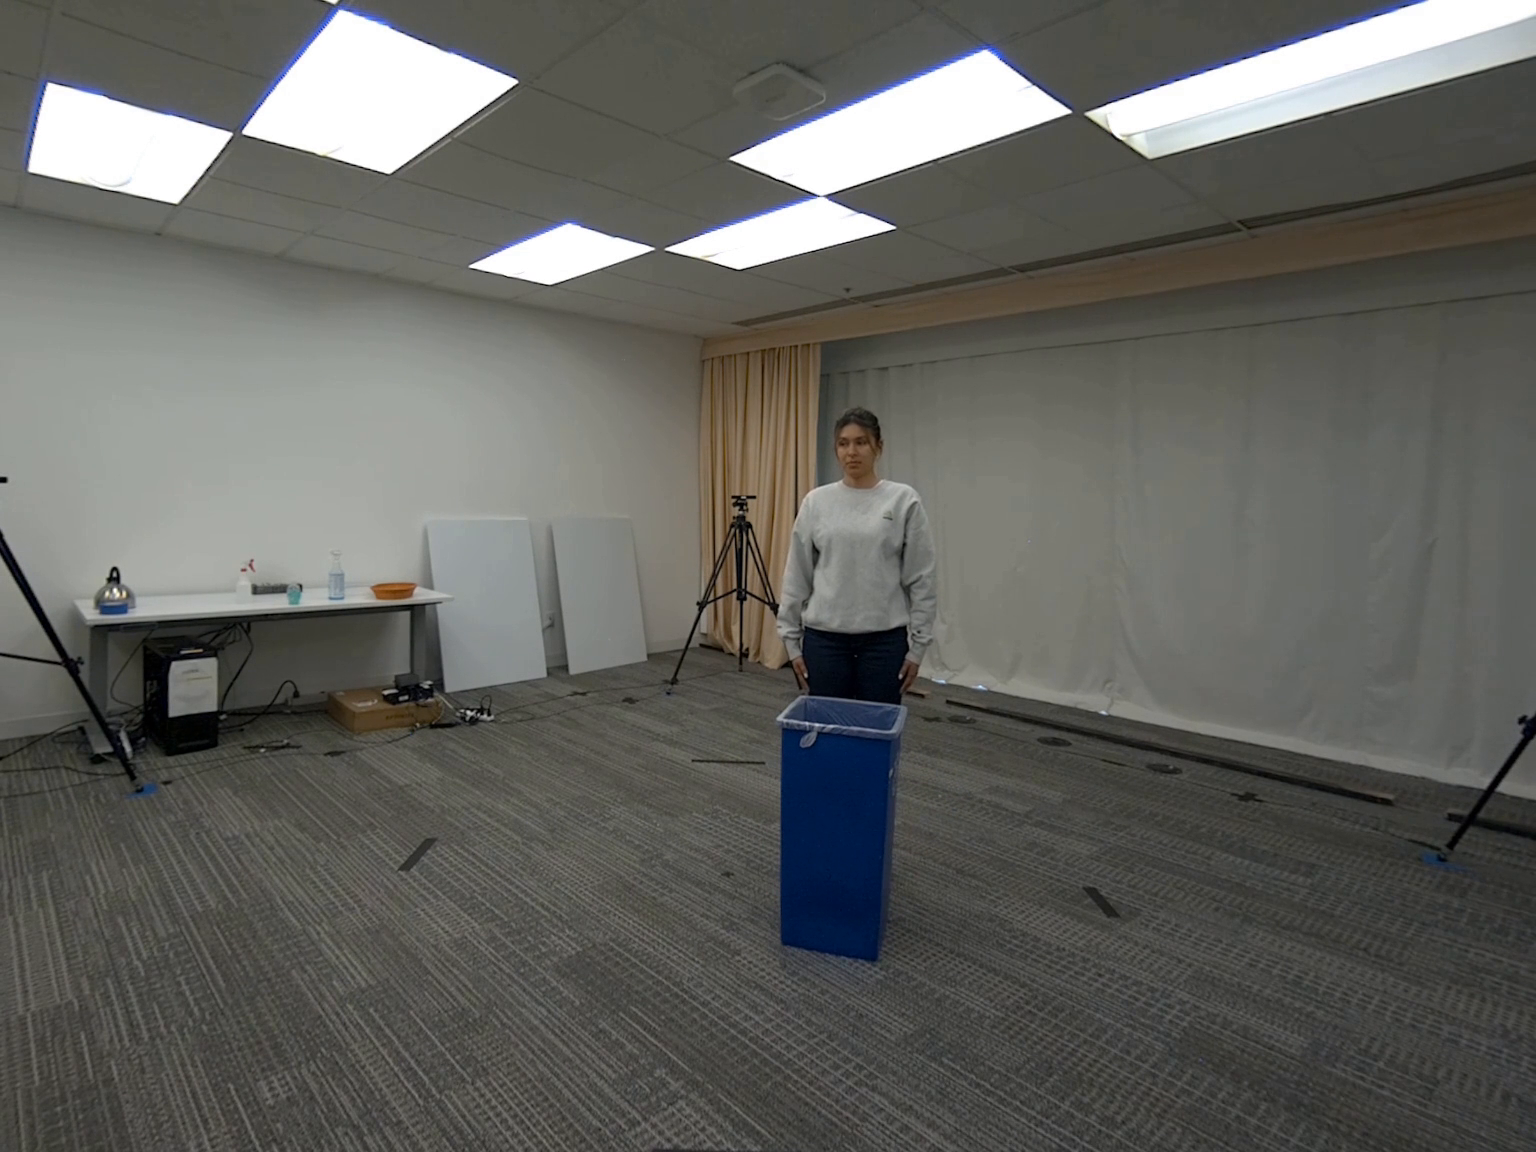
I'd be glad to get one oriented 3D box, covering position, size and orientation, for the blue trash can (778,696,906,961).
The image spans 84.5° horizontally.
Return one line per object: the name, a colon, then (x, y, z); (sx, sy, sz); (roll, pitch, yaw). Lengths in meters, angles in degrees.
blue trash can: (0.223, 0.790, 2.707); (0.383, 0.712, 0.370); (3, 4, 17)
